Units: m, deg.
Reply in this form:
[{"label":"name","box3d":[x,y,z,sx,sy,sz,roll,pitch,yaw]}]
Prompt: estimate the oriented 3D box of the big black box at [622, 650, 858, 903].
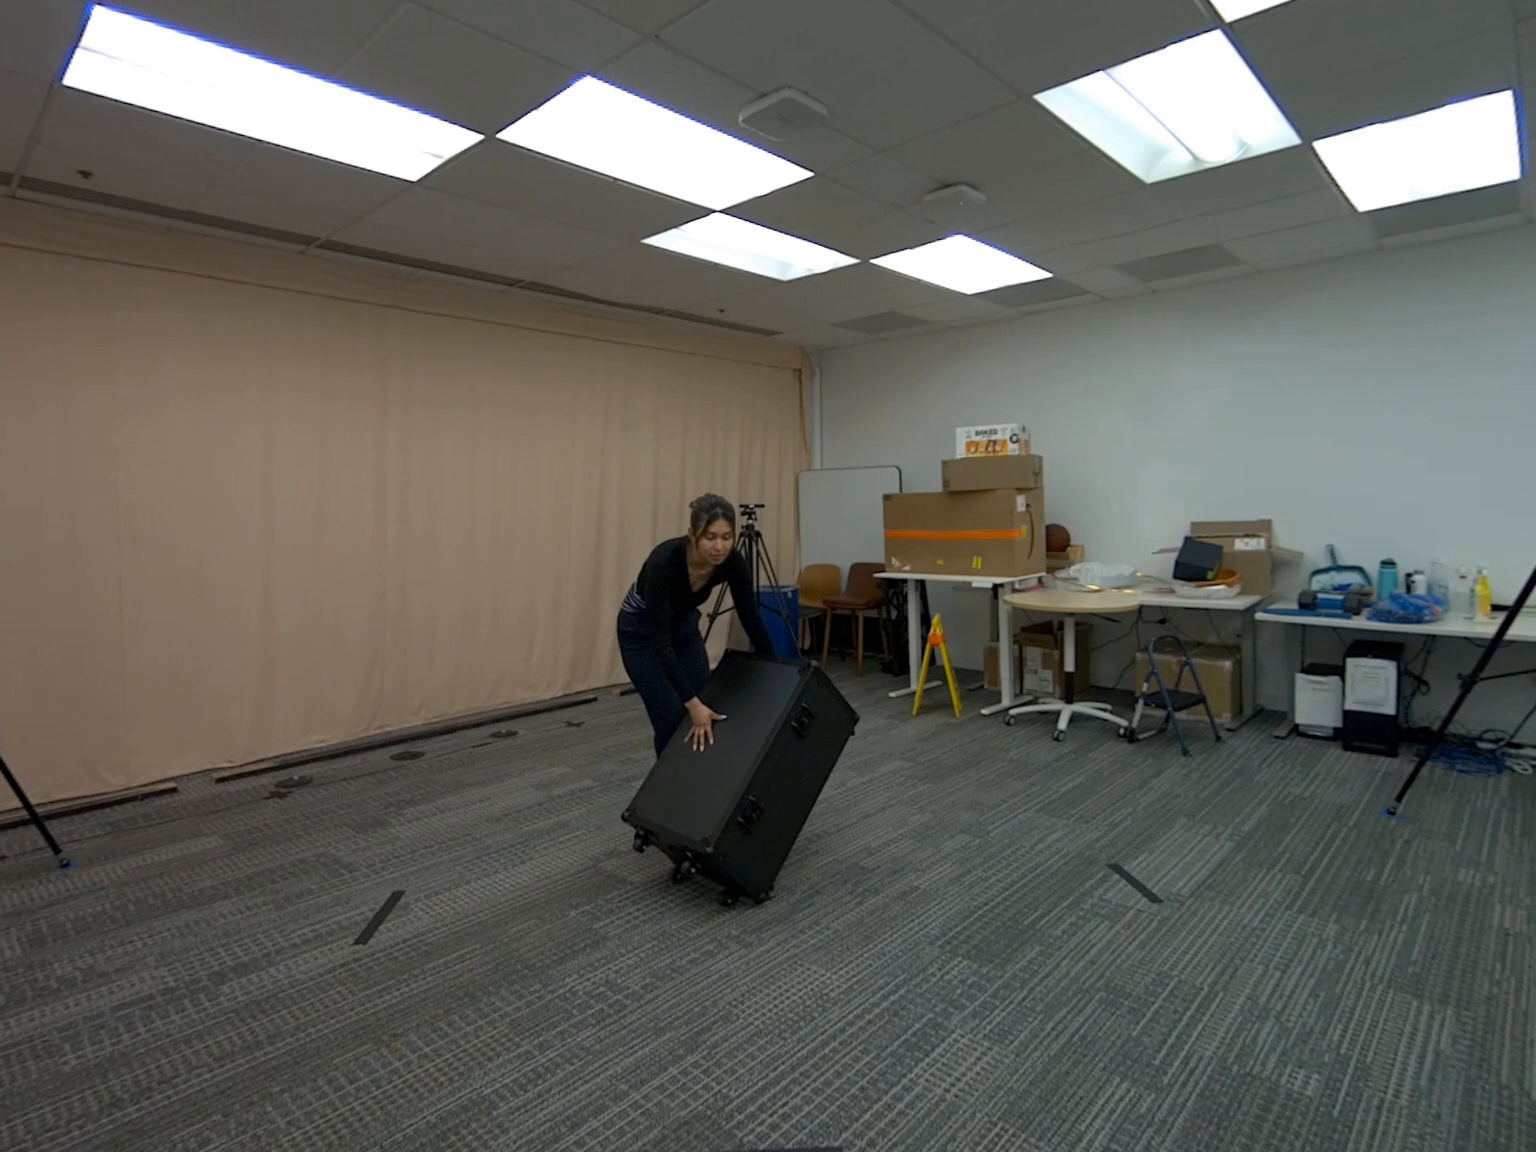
[{"label":"big black box","box3d":[-0.064,0.699,3.172,0.538,0.860,0.384,2,-39,47]}]
